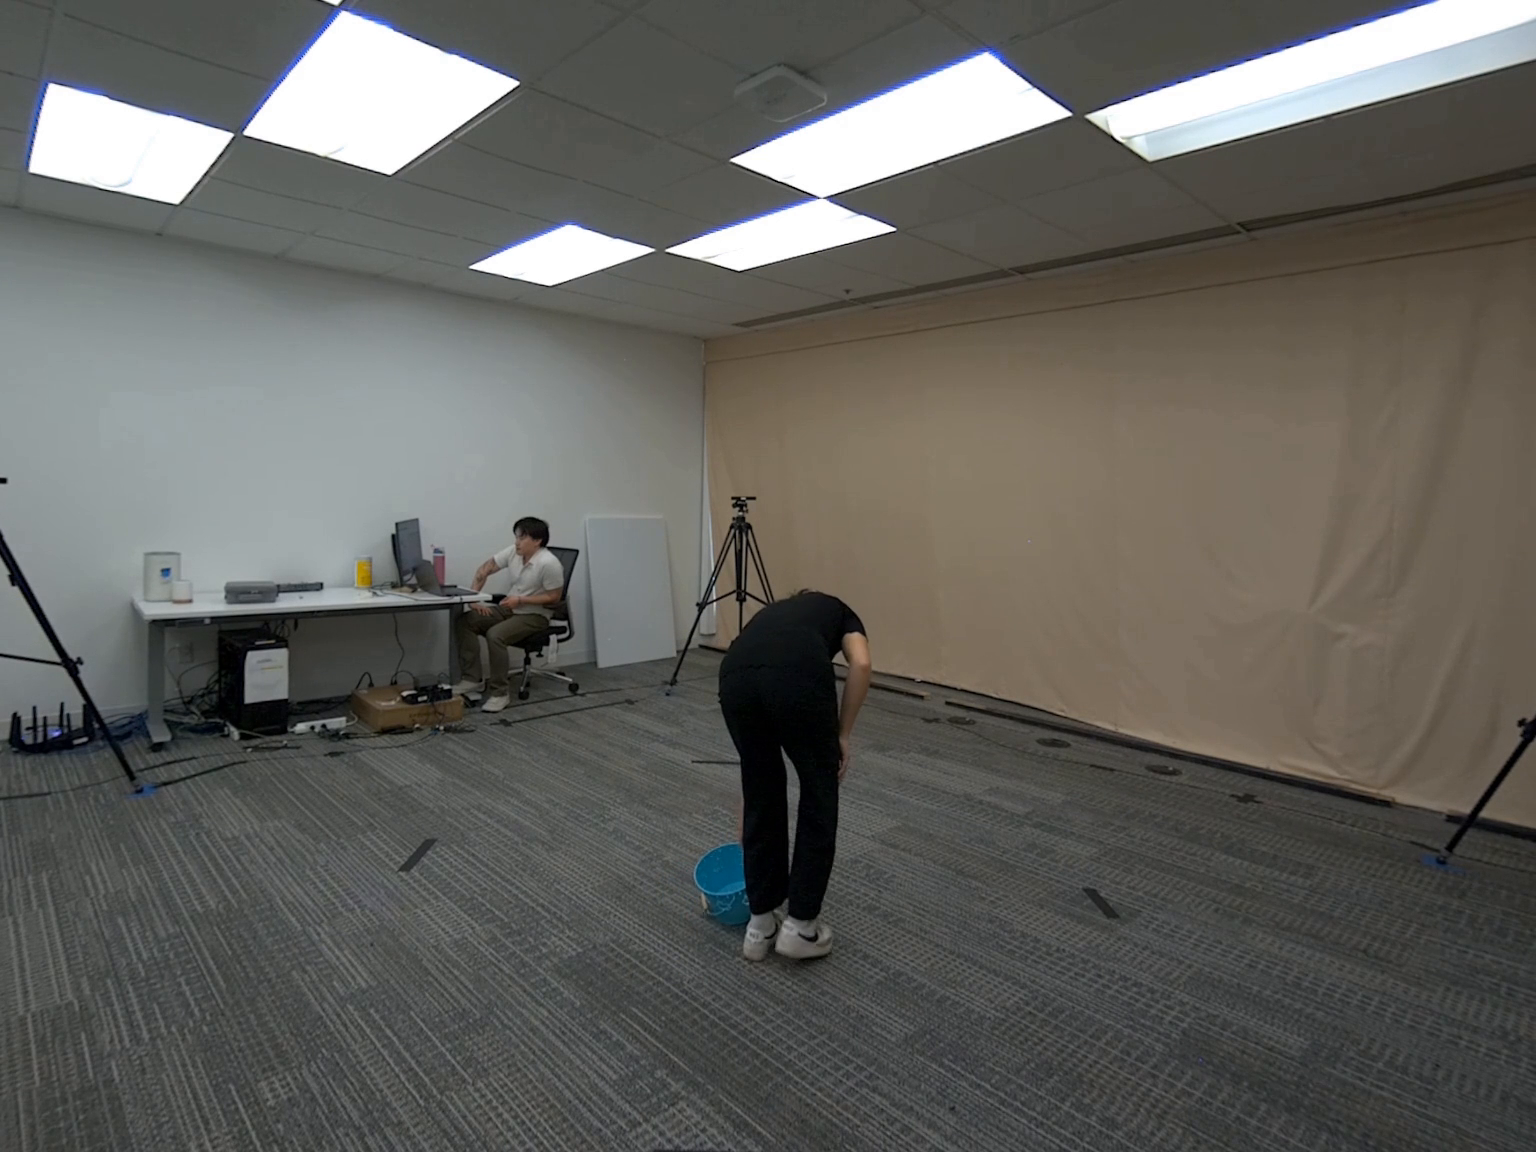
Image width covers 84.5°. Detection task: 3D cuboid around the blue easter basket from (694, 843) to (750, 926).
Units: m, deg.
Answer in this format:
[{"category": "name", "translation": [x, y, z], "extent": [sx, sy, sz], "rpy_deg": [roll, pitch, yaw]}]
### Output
[{"category": "blue easter basket", "translation": [-0.128, 1.031, 2.795], "extent": [0.244, 0.153, 0.247], "rpy_deg": [-11, 21, 3]}]
